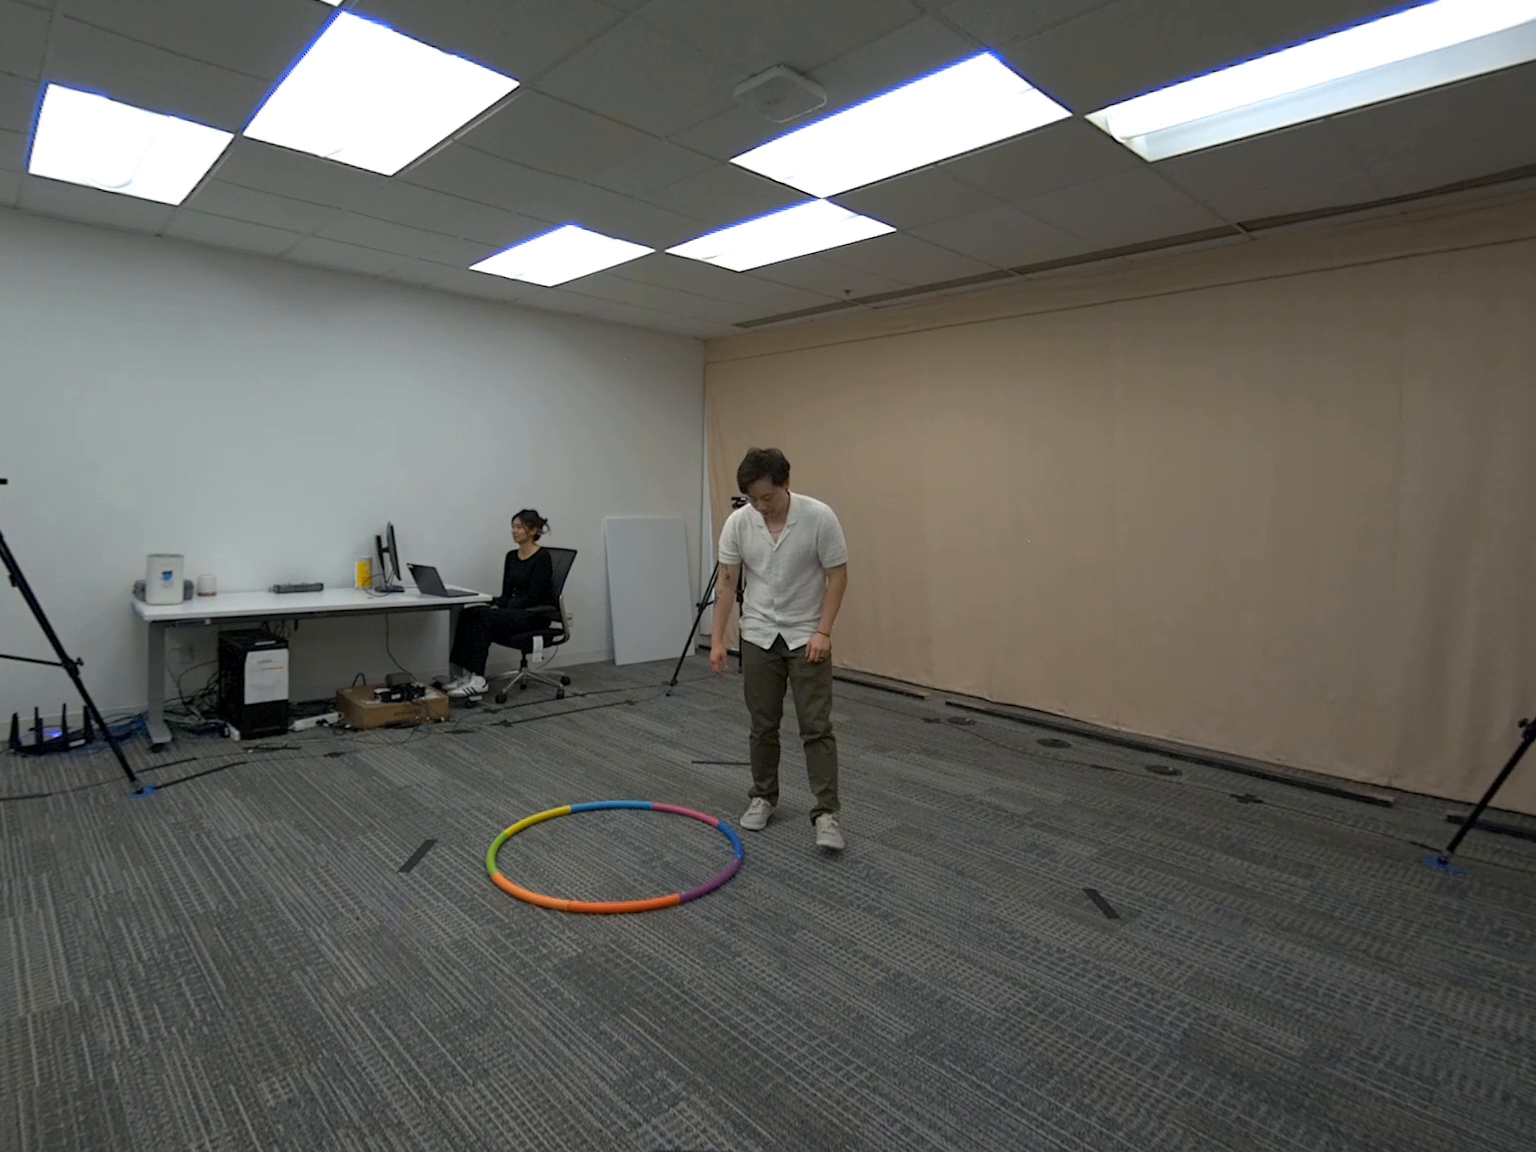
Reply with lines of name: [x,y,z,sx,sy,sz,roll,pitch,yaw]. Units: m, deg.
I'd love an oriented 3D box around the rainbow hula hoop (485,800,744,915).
rainbow hula hoop: [-0.588,1.052,3.273,0.978,0.035,0.982,2,5,-1]
